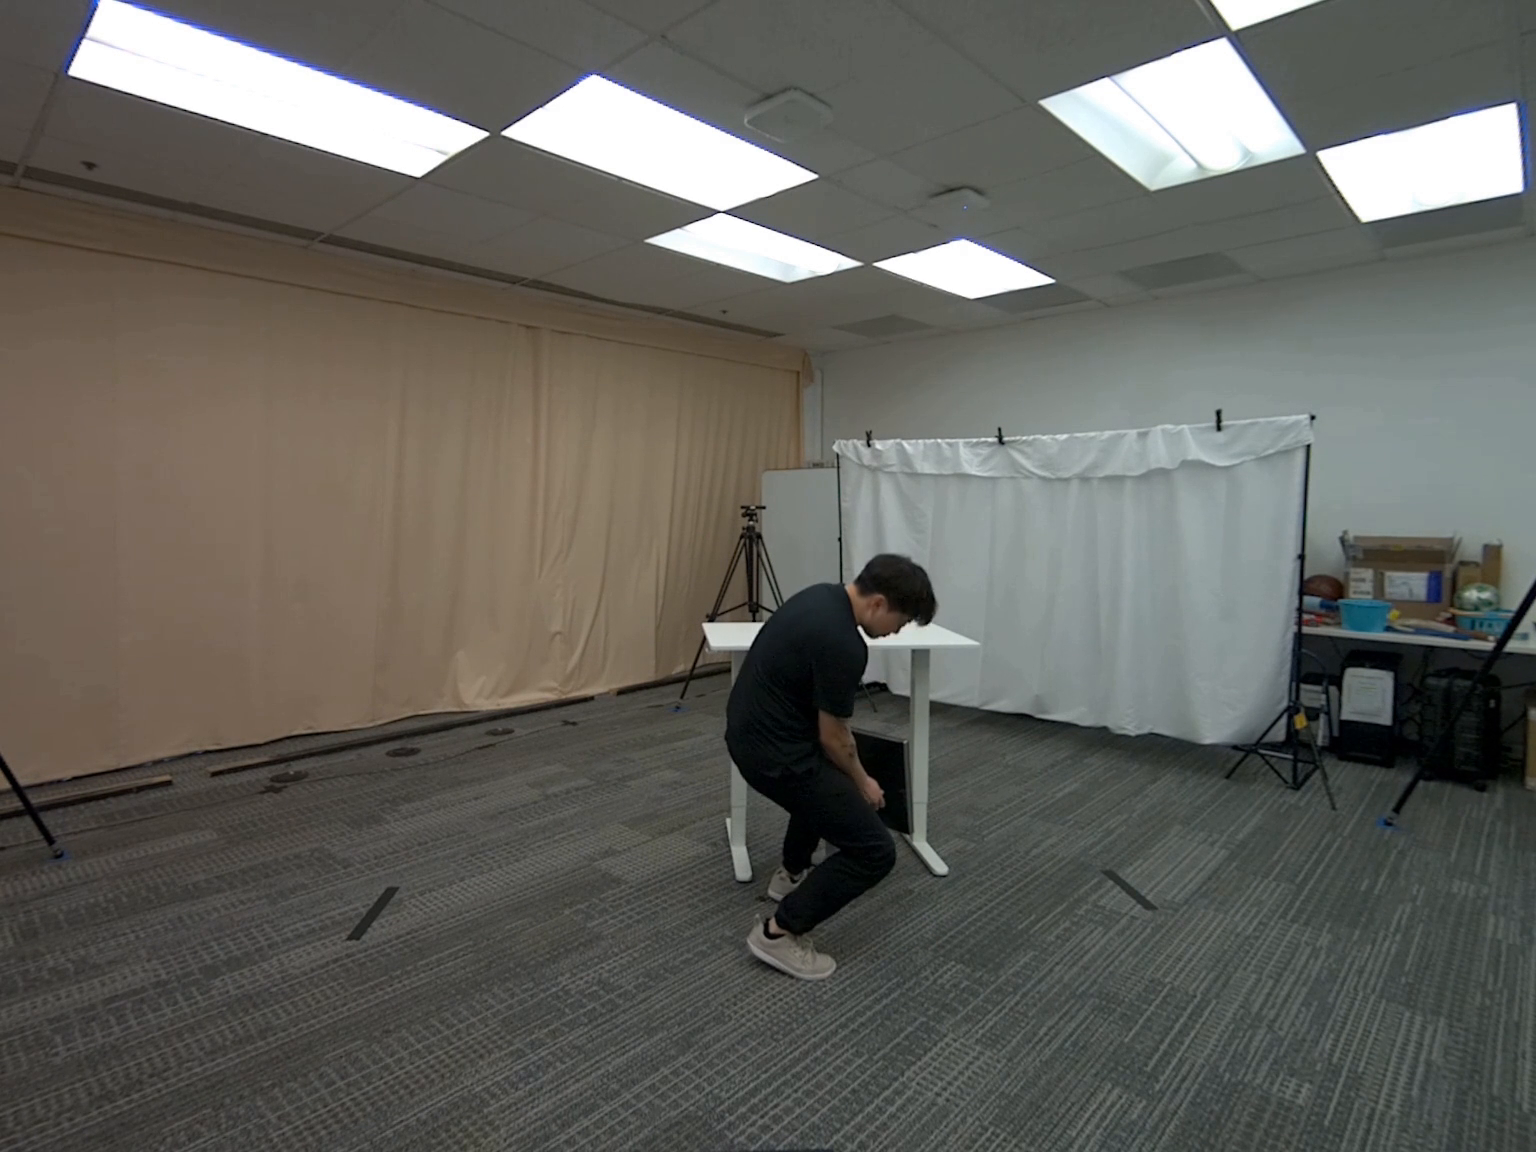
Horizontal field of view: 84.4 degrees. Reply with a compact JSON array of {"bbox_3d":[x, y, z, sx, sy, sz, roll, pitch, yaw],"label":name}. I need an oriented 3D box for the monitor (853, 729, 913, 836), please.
[{"bbox_3d":[0.293,0.853,3.257,0.557,0.522,0.181,5,2,44],"label":"monitor"}]
